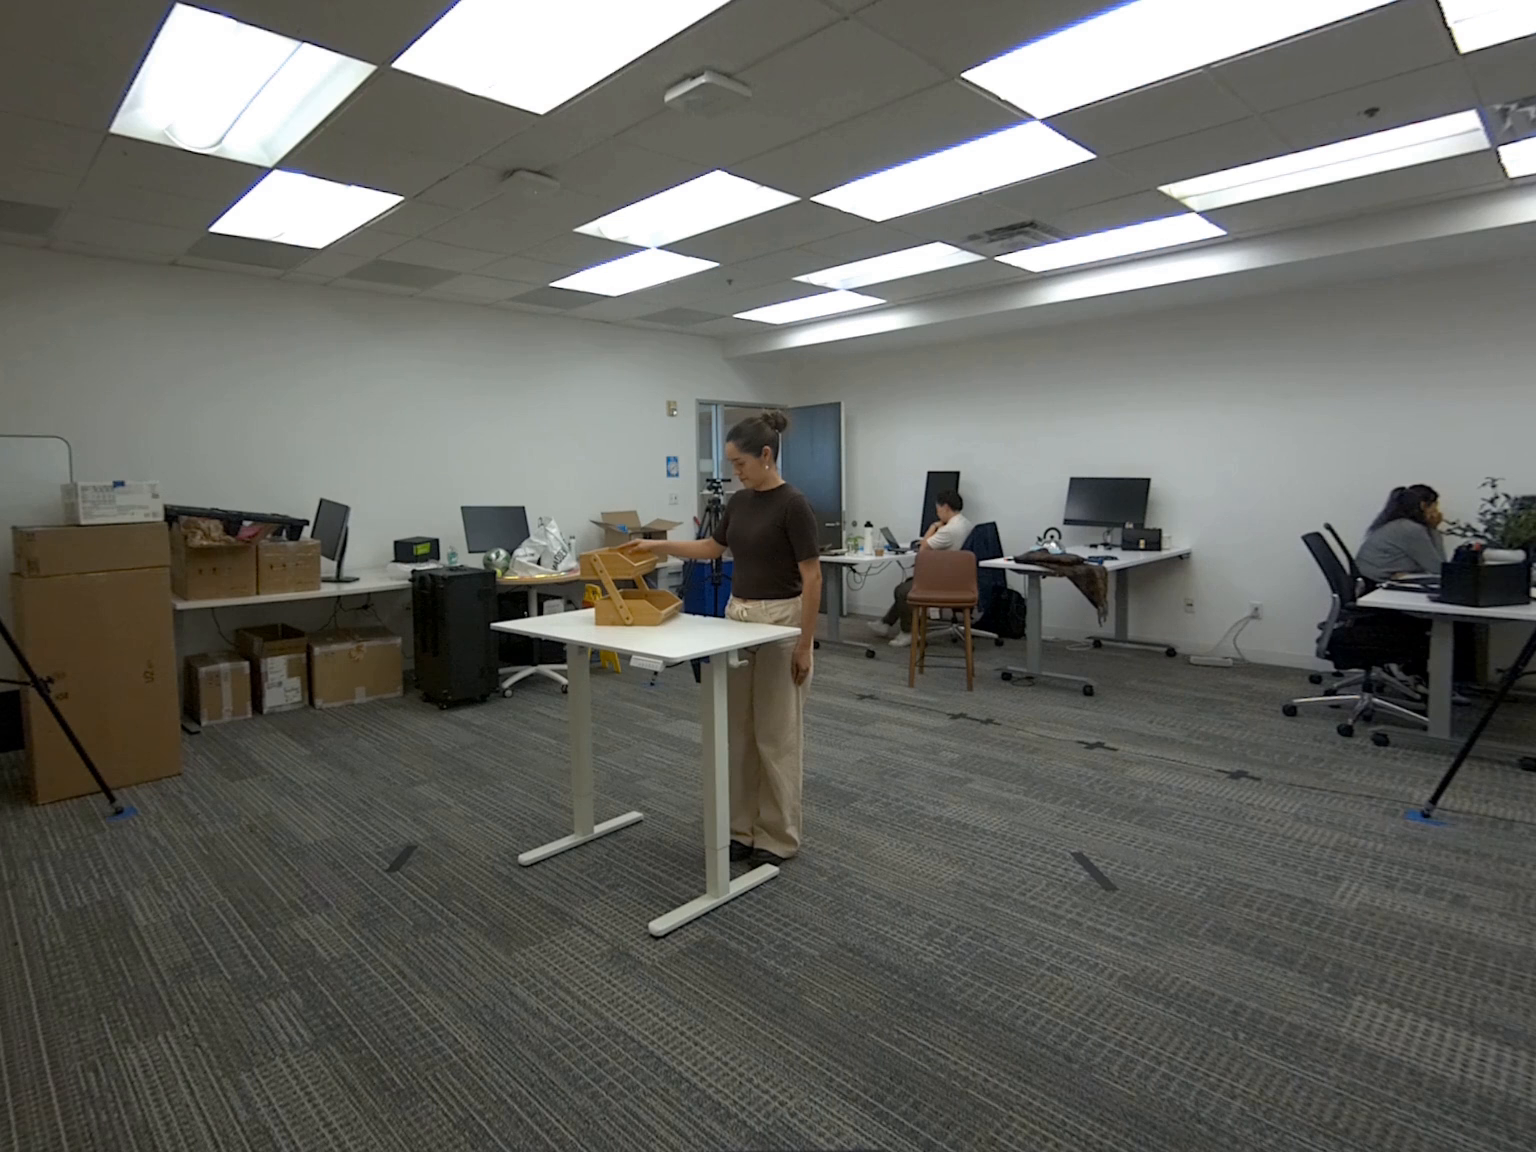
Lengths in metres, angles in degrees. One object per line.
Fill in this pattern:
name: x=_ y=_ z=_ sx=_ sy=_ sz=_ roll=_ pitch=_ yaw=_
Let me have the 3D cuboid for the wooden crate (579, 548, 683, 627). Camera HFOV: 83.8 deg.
wooden crate: x=-0.494 y=0.032 z=3.188 sx=0.305 sy=0.272 sz=0.322 roll=-1 pitch=5 yaw=10
